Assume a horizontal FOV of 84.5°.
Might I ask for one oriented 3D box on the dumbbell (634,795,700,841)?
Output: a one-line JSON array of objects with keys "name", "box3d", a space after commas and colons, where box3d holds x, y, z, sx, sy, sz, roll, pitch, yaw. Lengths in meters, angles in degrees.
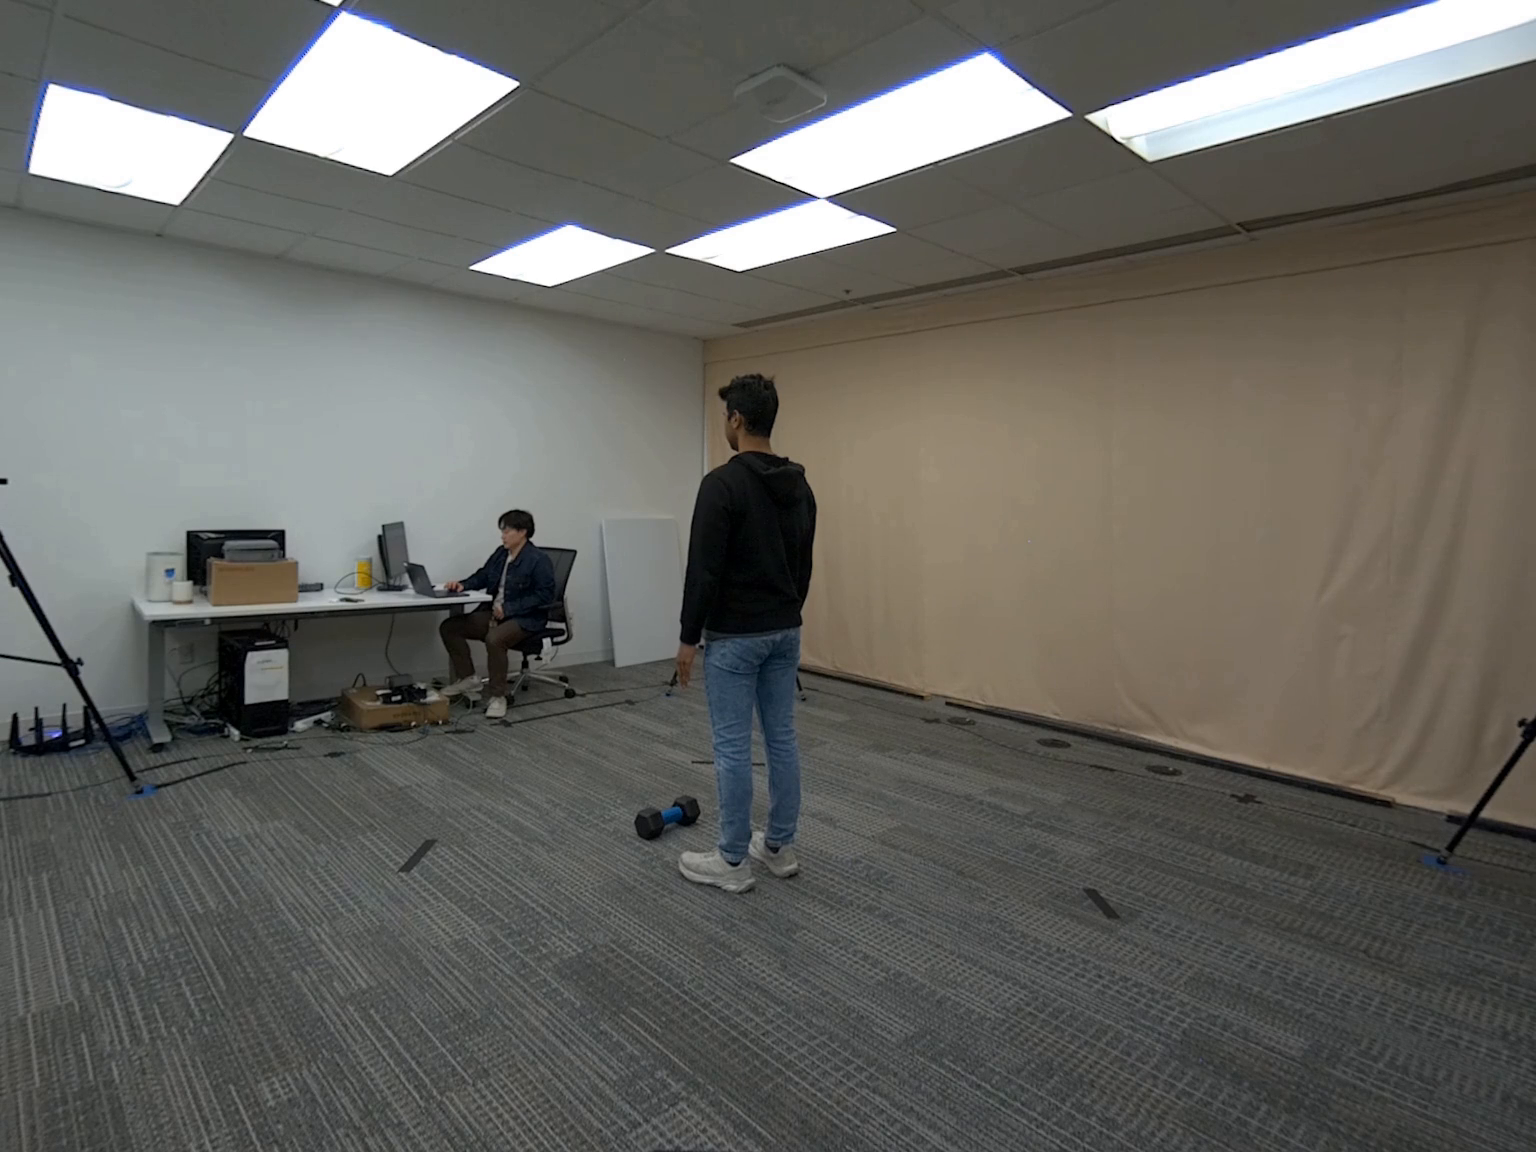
[{"name": "dumbbell", "box3d": [-0.426, 1.010, 3.525, 0.126, 0.108, 0.287, 7, 7, 39]}]
